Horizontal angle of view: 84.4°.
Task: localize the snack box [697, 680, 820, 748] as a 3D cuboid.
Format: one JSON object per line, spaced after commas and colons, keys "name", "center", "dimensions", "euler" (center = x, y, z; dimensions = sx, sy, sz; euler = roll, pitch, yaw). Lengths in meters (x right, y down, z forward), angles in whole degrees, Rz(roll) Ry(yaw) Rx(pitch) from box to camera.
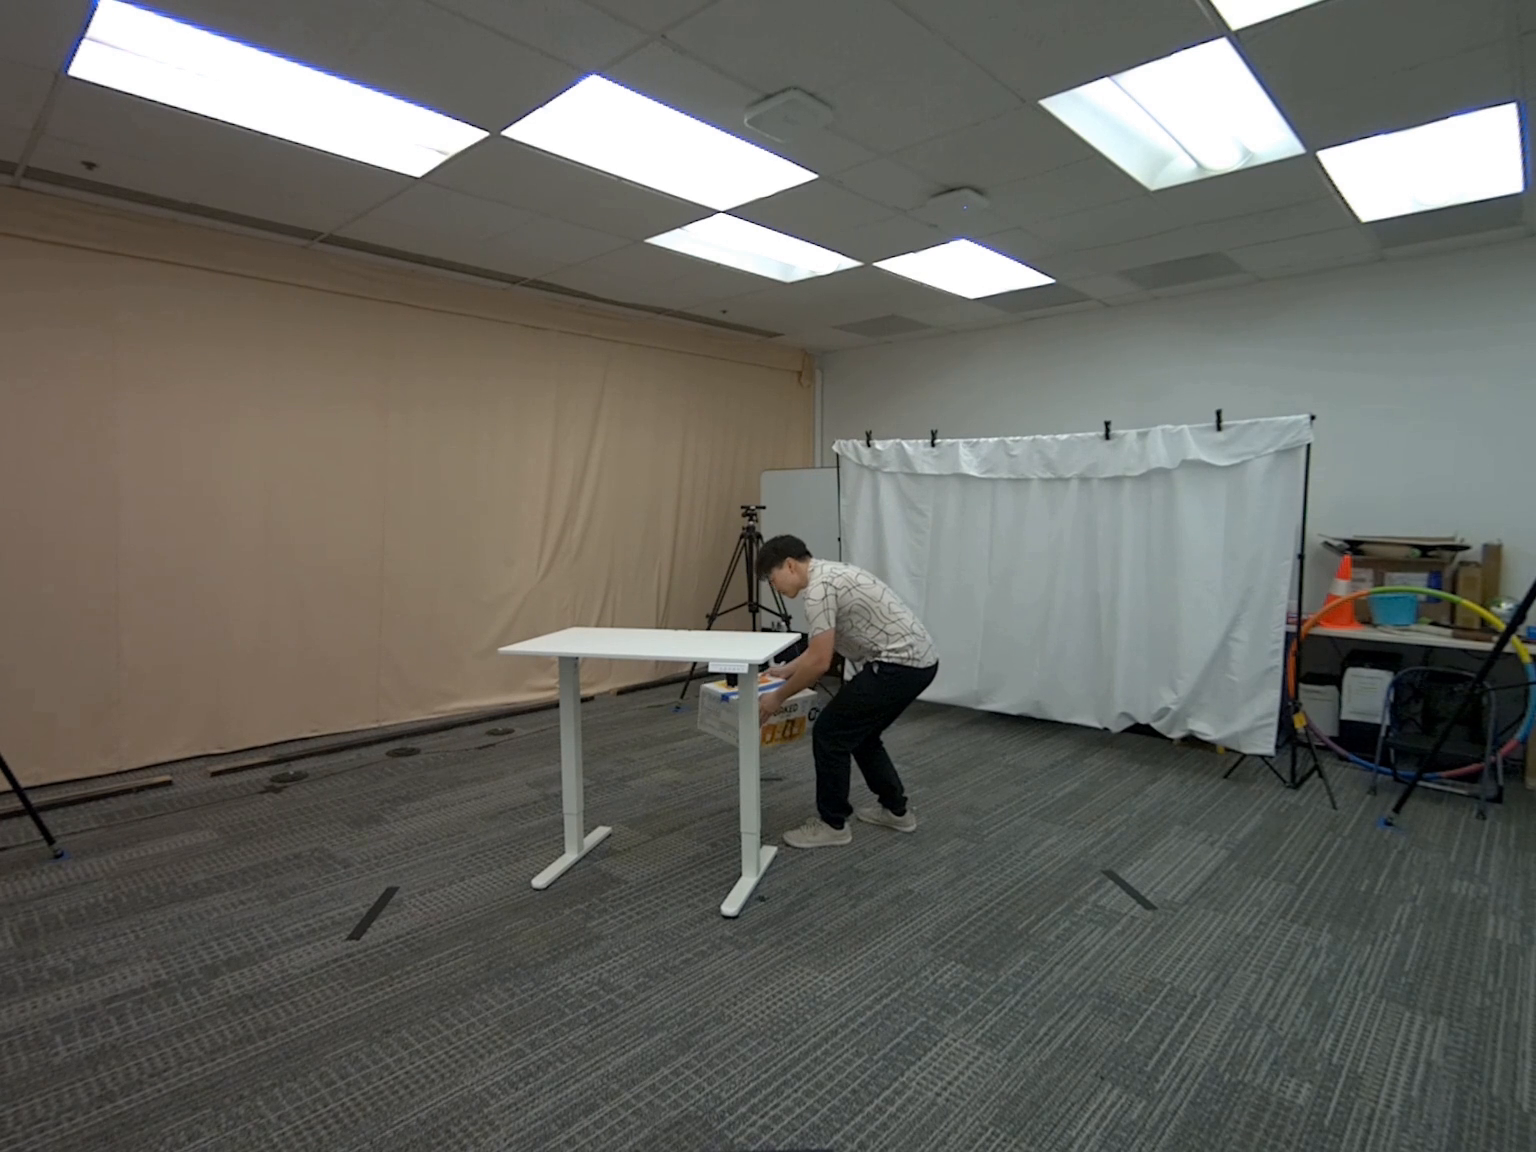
{"name": "snack box", "center": [-0.044, 0.598, 3.748], "dimensions": [0.393, 0.205, 0.352], "euler": [-4, 13, -43]}
